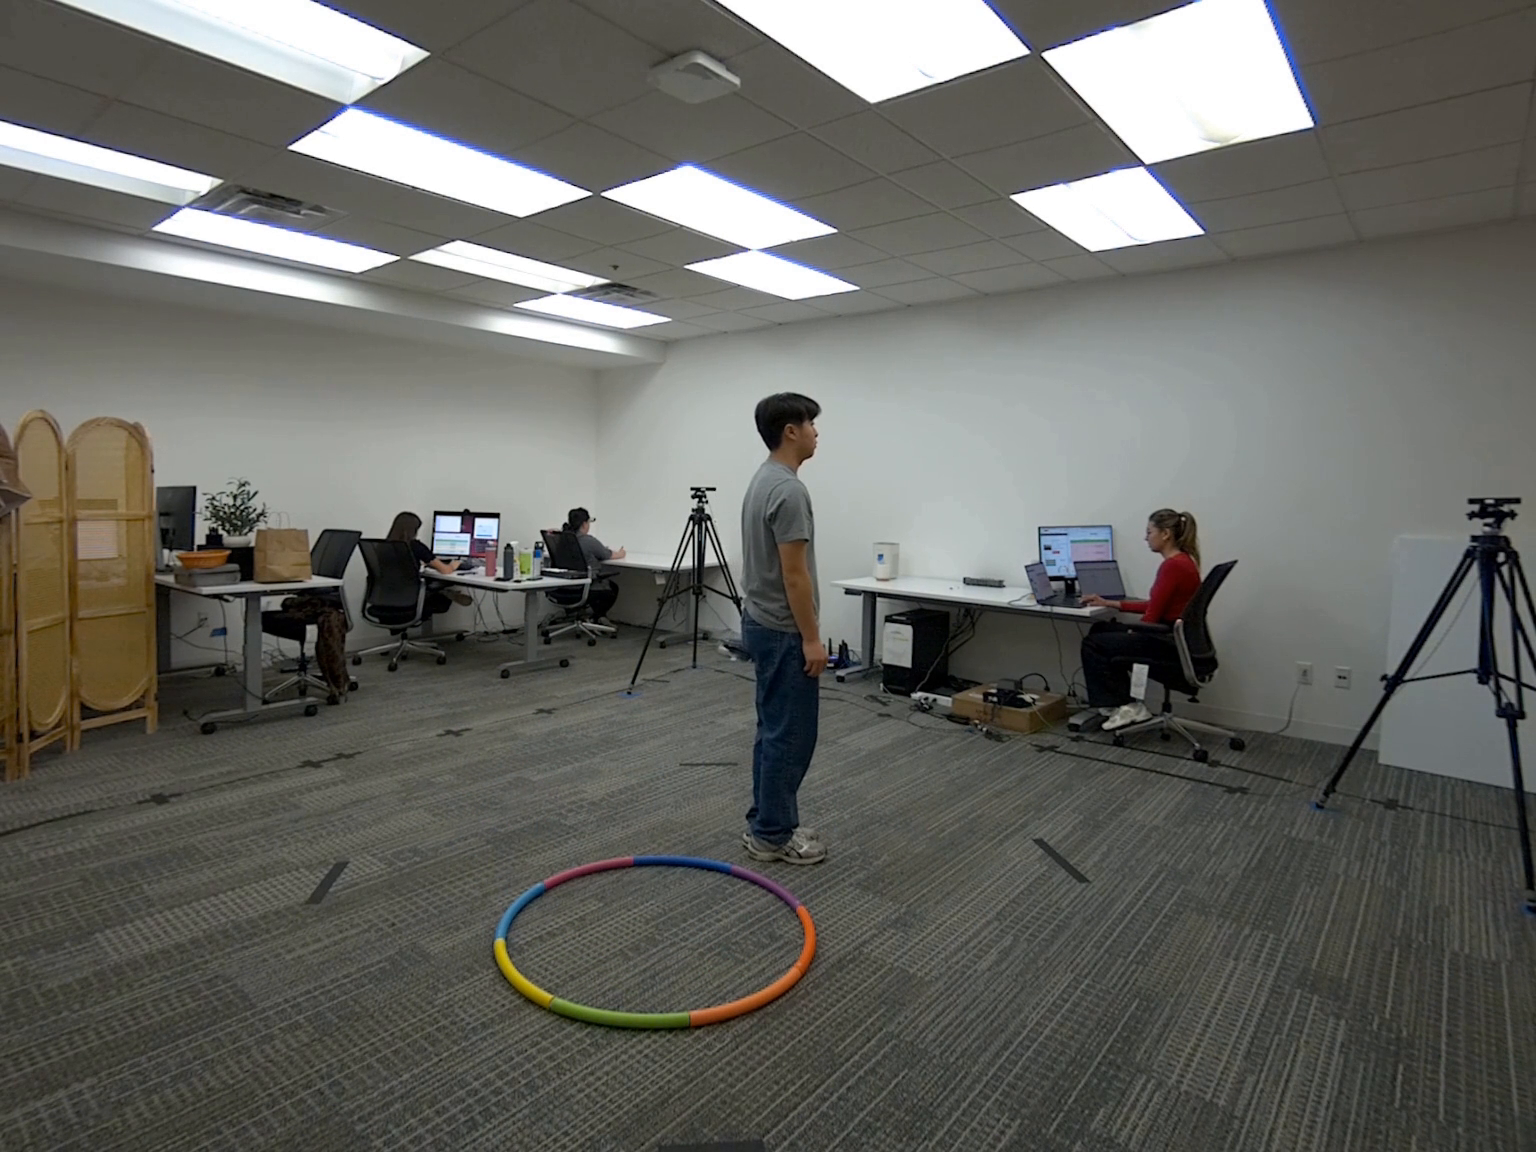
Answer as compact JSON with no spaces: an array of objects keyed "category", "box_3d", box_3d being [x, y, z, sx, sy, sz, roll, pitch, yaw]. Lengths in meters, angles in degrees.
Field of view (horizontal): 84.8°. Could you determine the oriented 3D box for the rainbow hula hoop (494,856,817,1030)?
[{"category":"rainbow hula hoop","box_3d":[-0.355,1.077,2.655,0.978,0.035,0.984,1,6,-2]}]
